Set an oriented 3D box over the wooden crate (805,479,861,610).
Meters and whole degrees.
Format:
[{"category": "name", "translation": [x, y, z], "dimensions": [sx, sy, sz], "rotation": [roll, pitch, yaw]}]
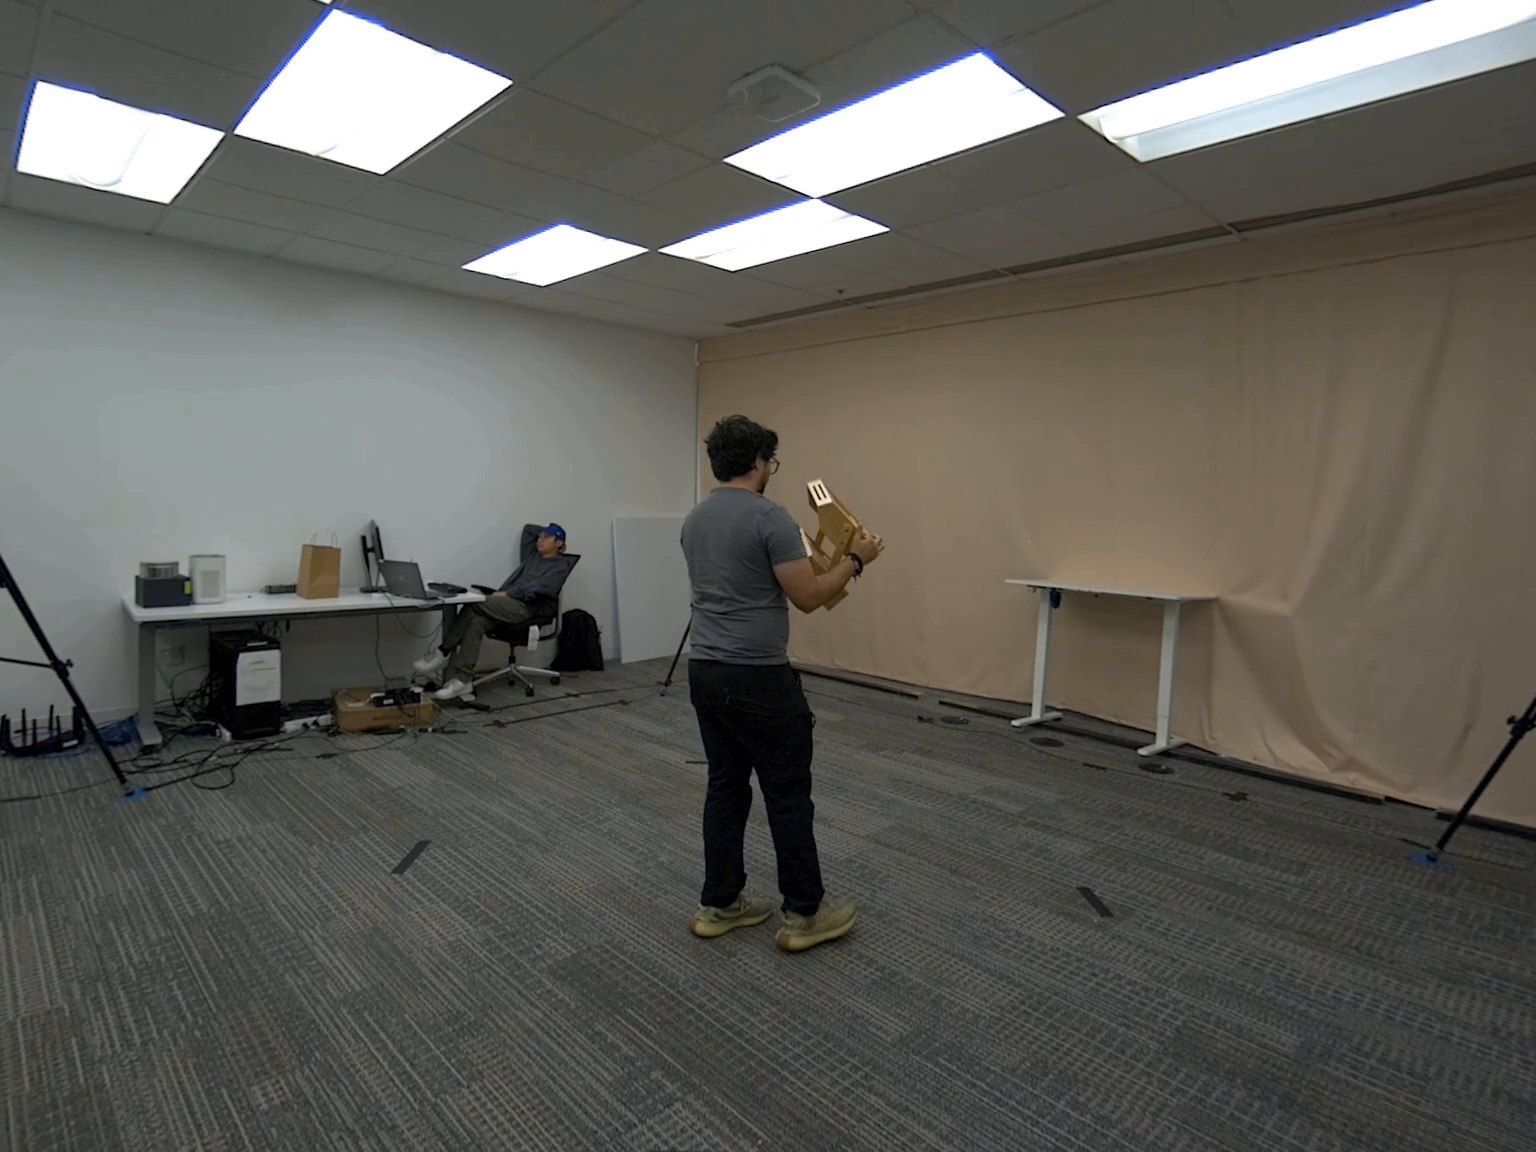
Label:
[{"category": "wooden crate", "translation": [0.182, -0.115, 2.907], "dimensions": [0.273, 0.297, 0.329], "rotation": [-41, 16, 13]}]
